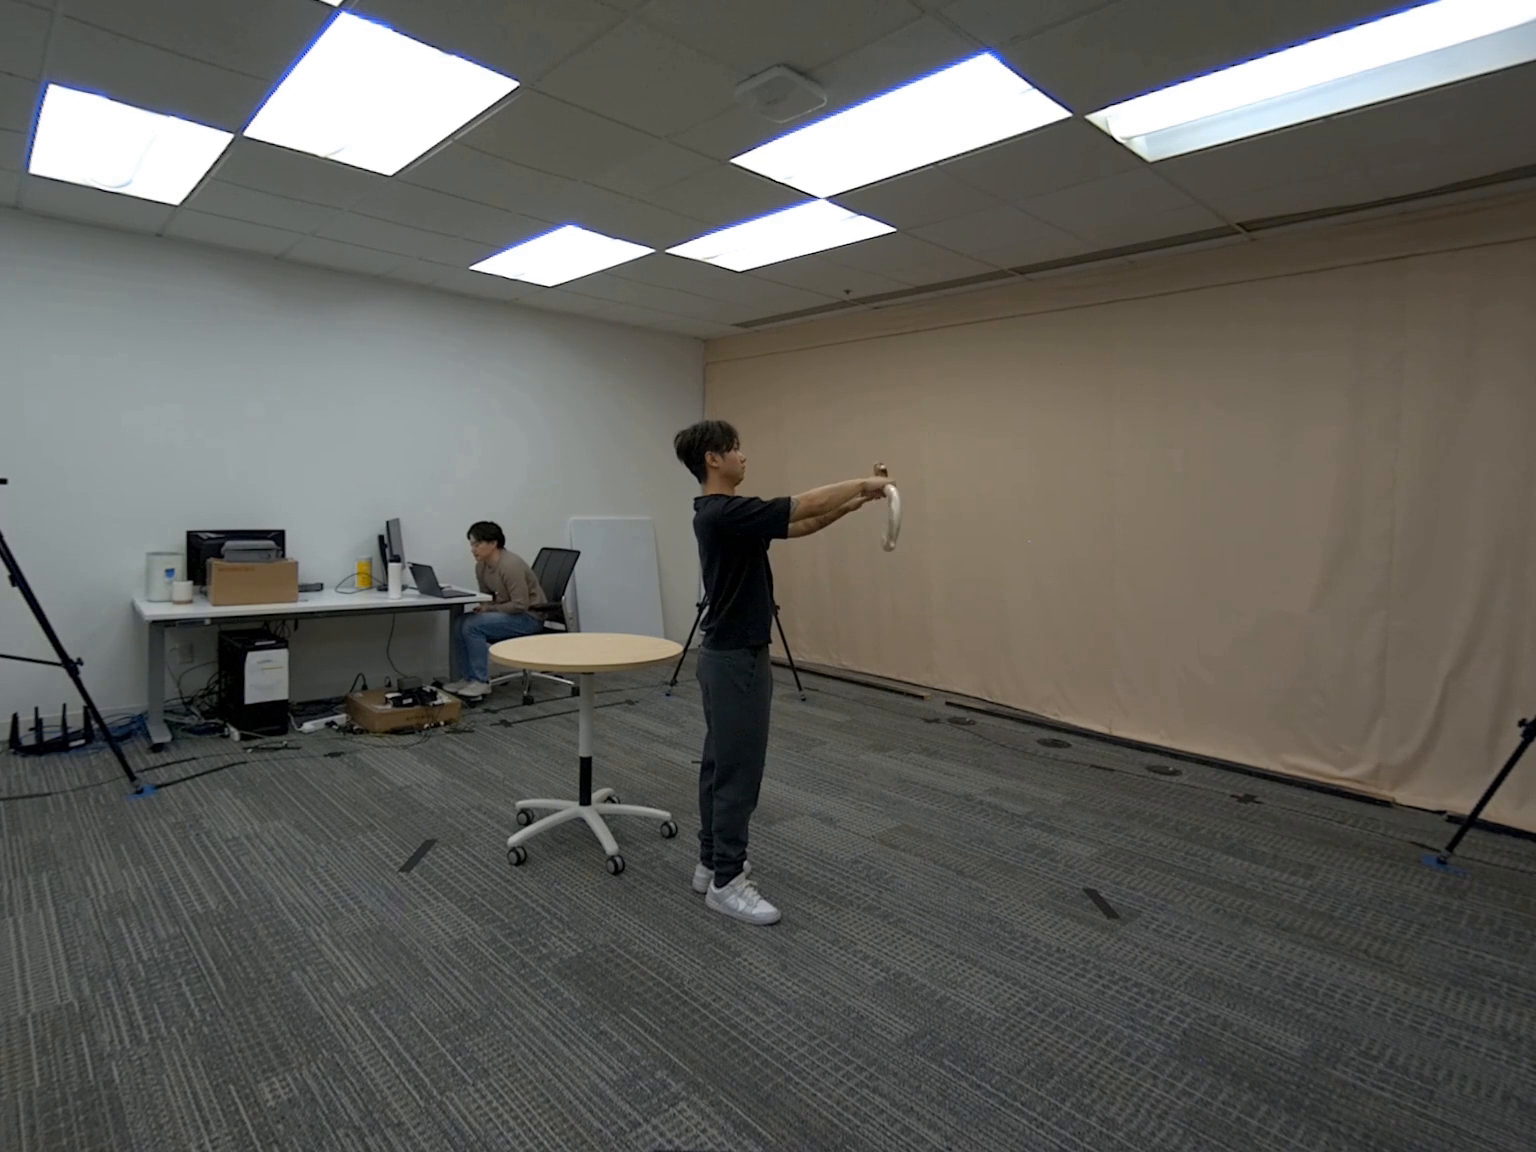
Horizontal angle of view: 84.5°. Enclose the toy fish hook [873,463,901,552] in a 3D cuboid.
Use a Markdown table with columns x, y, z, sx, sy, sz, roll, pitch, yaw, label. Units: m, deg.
| x | y | z | sx | sy | sz | roll | pitch | yaw | label |
| --- | --- | --- | --- | --- | --- | --- | --- | --- | --- |
| 0.397 | -0.247 | 2.937 | 0.048 | 0.221 | 0.514 | 5 | 28 | -1 | toy fish hook |
